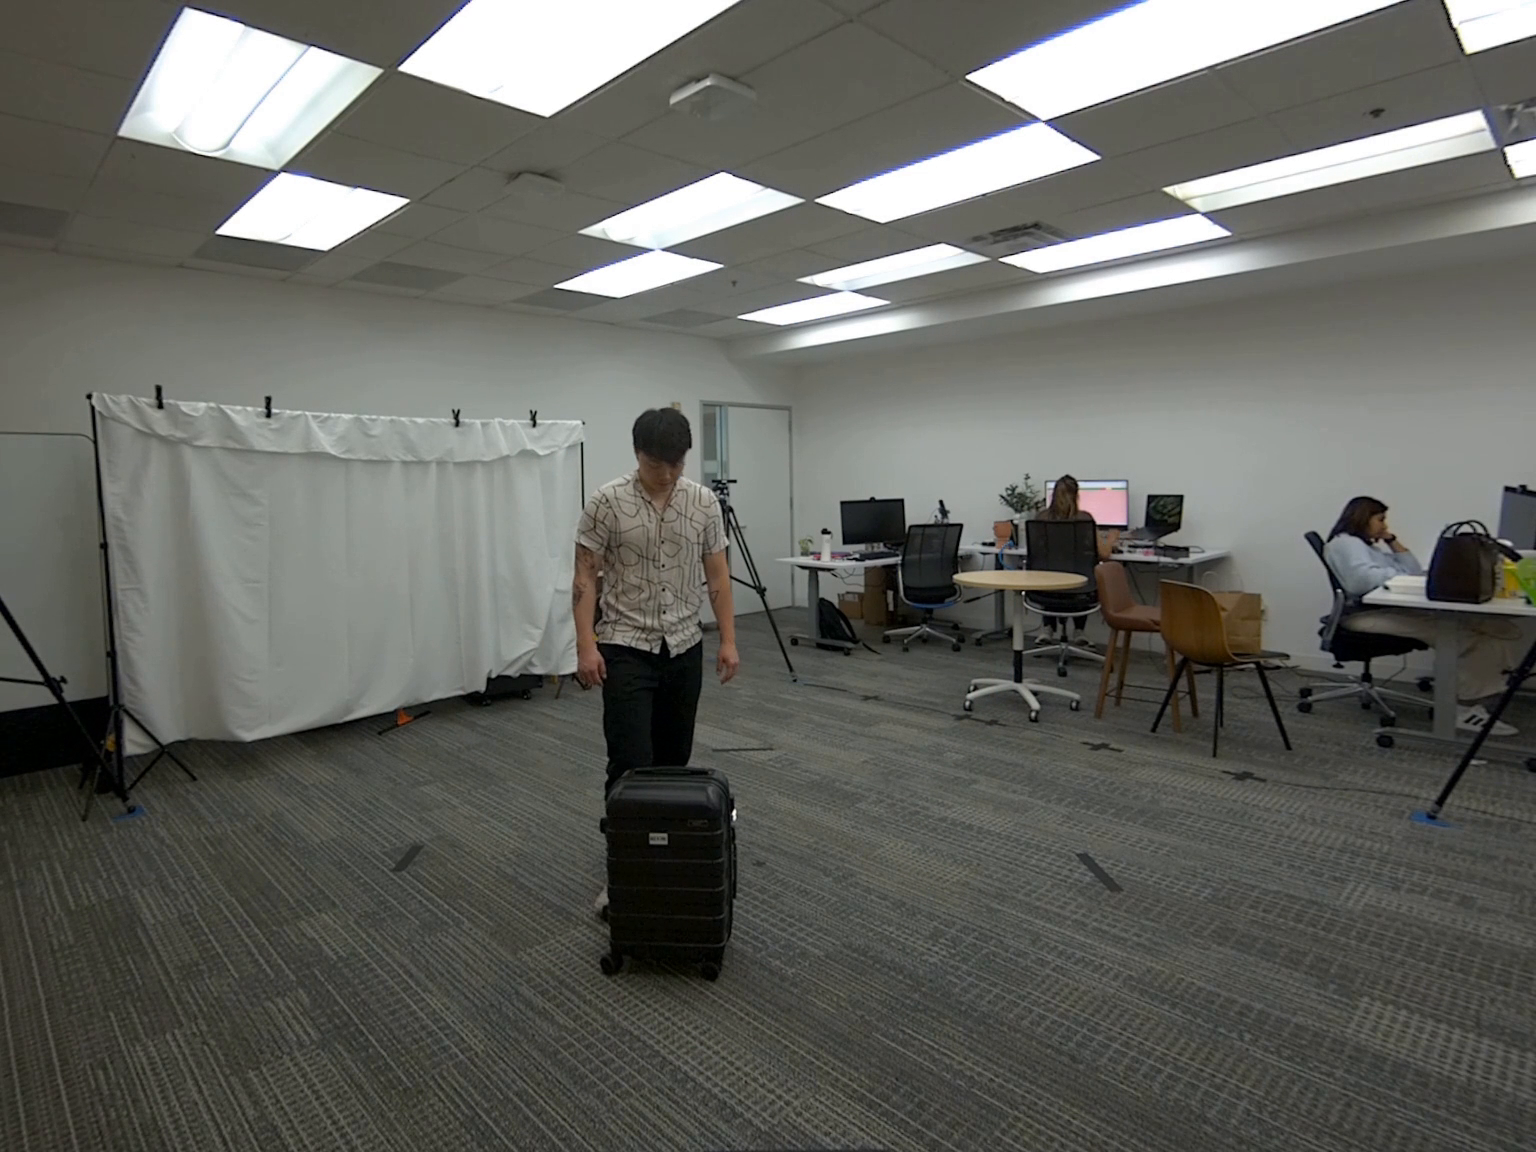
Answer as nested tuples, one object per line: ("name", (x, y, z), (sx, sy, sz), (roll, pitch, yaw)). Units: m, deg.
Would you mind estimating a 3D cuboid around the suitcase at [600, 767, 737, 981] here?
("suitcase", (-0.276, 0.847, 2.499), (0.377, 0.547, 0.248), (0, 4, 3))
